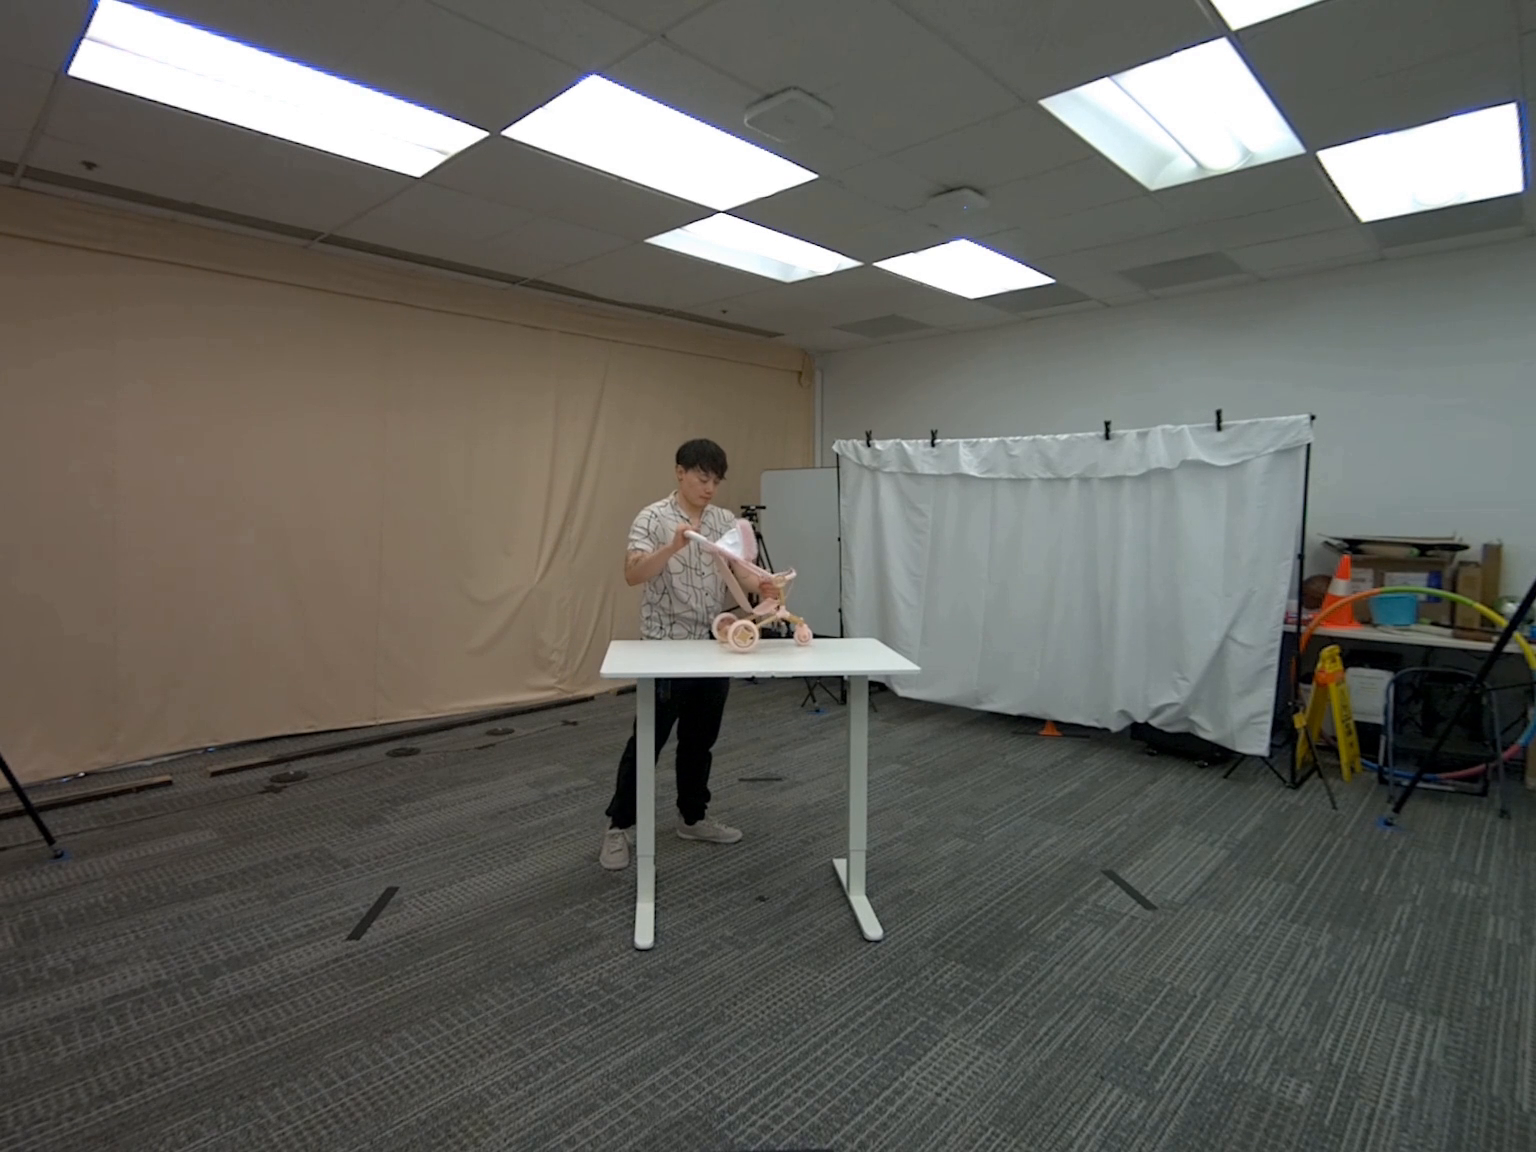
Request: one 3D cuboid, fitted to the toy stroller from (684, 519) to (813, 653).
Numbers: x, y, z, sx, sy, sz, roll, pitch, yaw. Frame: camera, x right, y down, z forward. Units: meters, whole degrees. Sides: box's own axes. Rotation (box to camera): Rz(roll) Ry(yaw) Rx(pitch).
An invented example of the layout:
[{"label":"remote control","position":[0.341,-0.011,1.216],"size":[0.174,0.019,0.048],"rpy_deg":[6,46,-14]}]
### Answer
[{"label":"toy stroller","position":[-0.062,0.038,3.022],"size":[0.339,0.534,0.284],"rpy_deg":[-17,3,-7]}]
